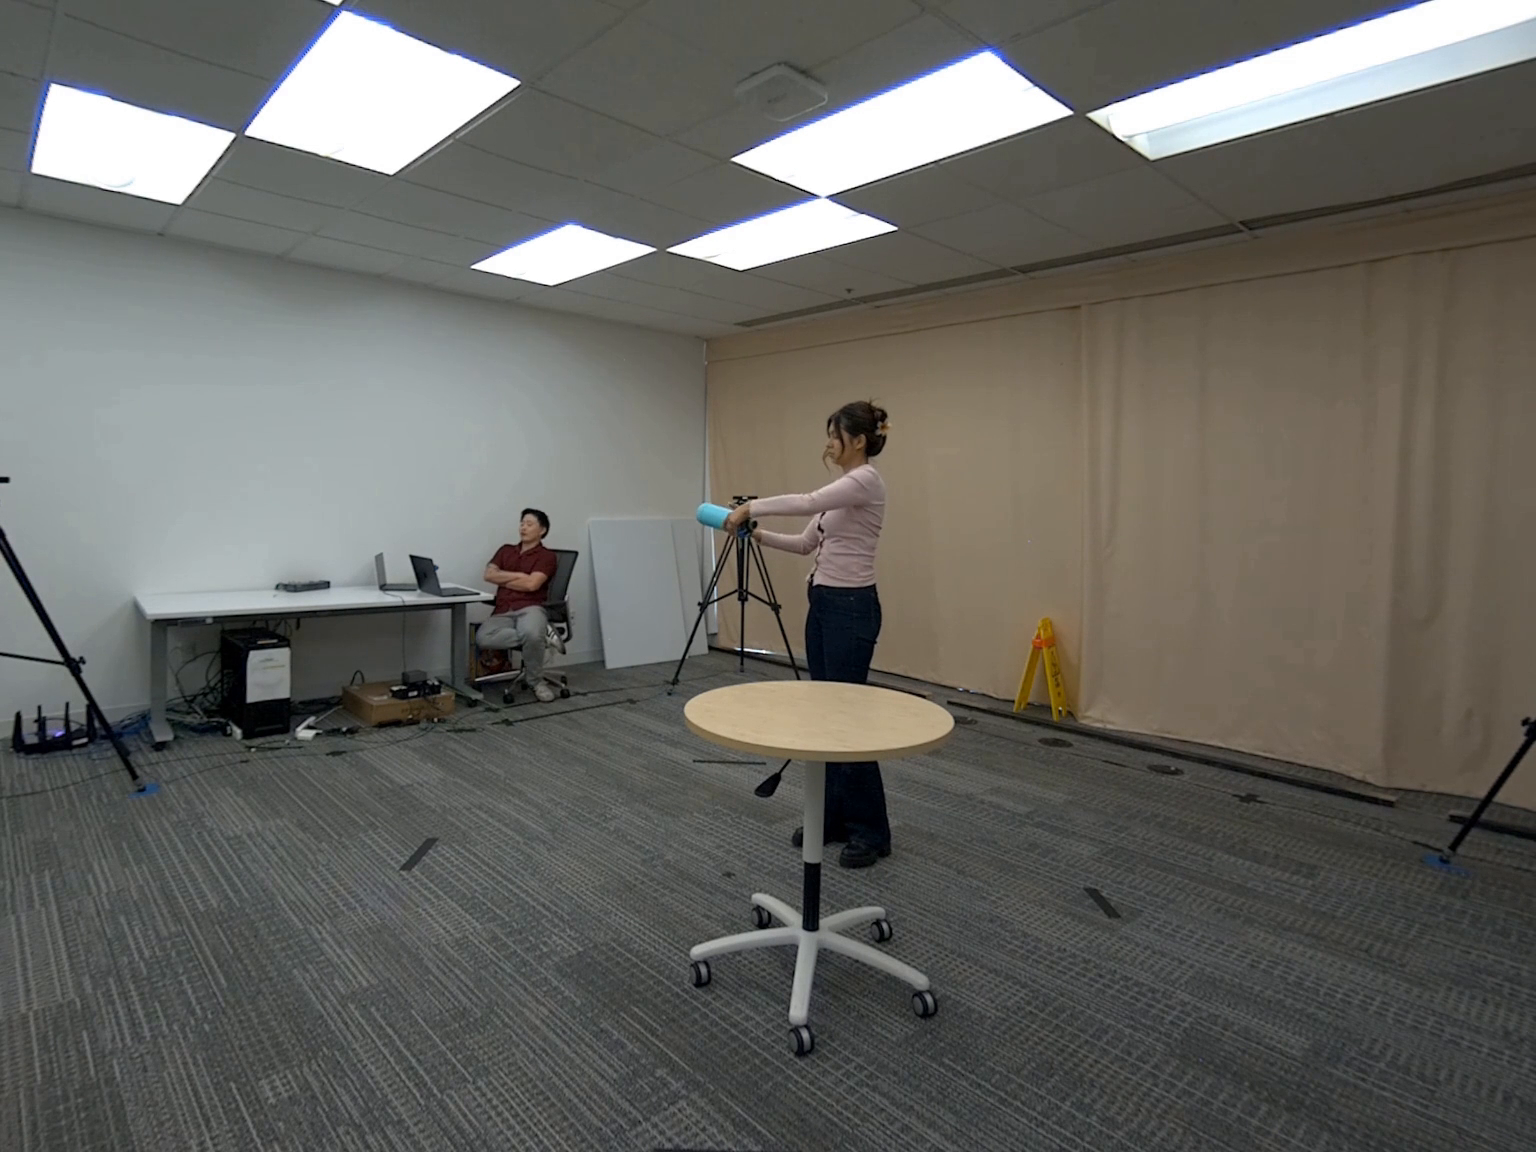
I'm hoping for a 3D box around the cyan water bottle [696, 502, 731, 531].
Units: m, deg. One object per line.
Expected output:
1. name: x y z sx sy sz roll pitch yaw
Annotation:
1. cyan water bottle: -0.156 -0.213 3.327 0.292 0.092 0.090 20 16 41
